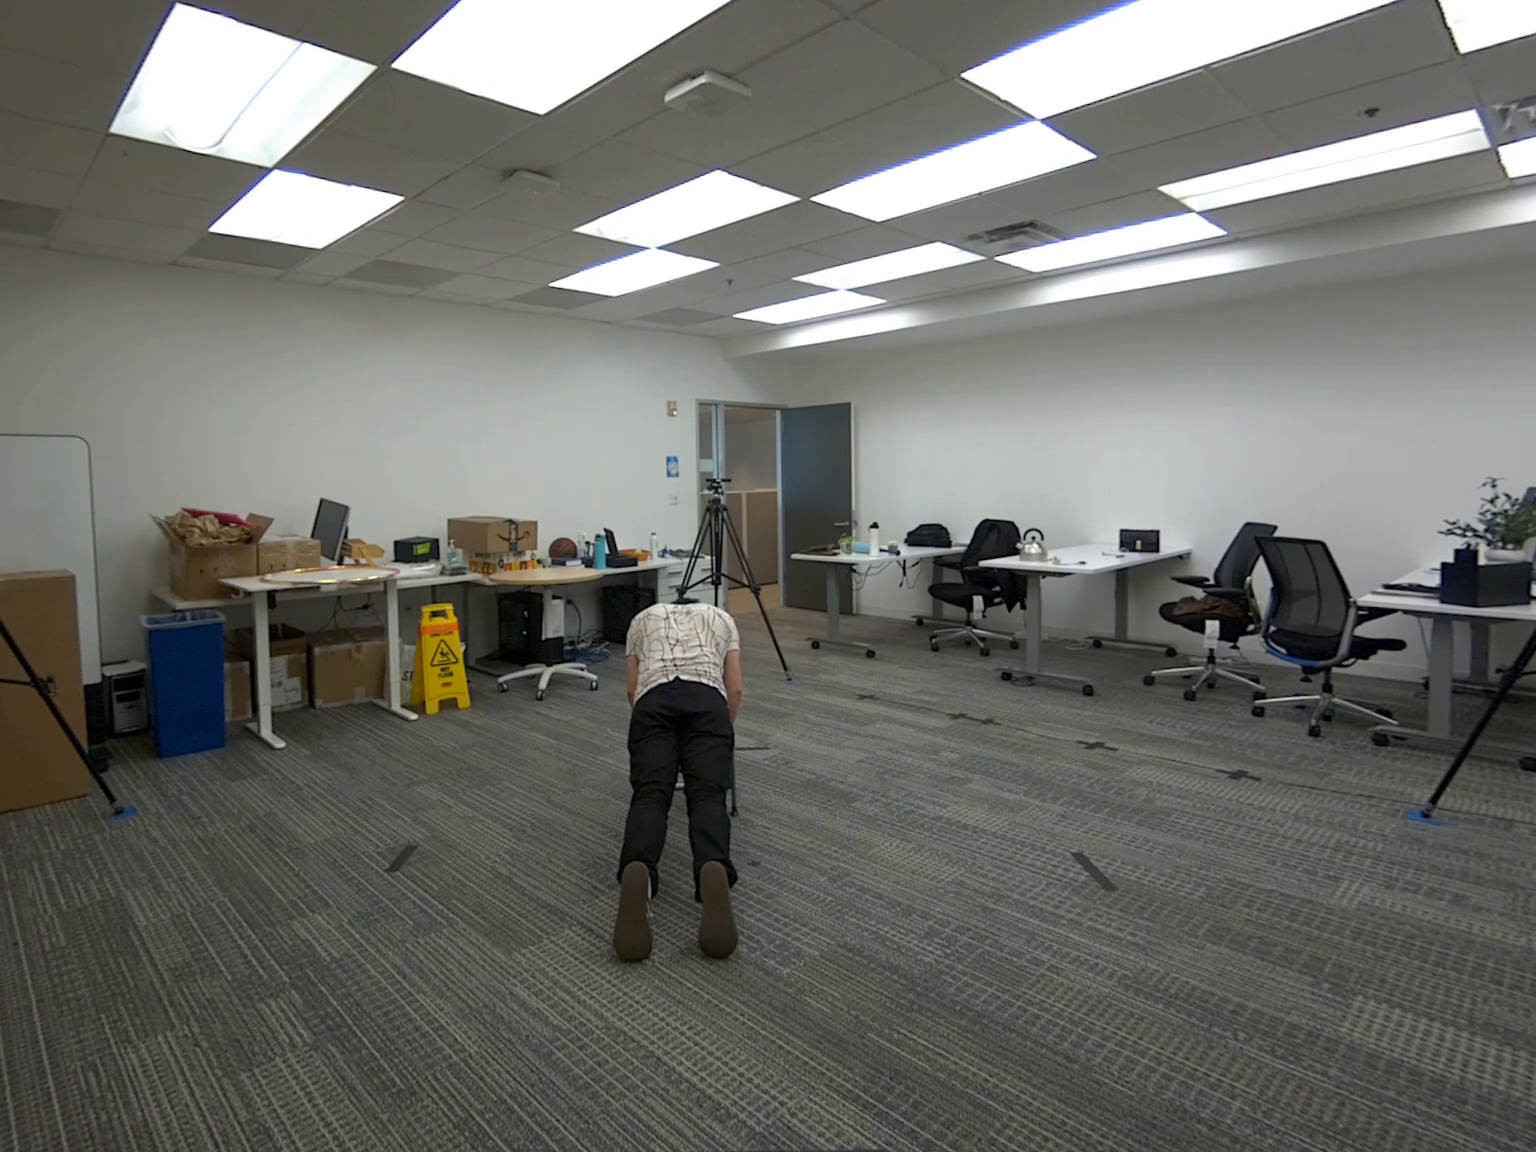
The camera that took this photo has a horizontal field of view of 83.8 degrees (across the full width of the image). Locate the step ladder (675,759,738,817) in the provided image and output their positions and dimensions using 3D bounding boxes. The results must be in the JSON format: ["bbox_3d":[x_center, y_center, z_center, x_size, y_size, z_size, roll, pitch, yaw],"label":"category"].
[{"bbox_3d":[-0.349,0.686,3.699,0.429,0.604,0.351,-1,4,-3],"label":"step ladder"}]
